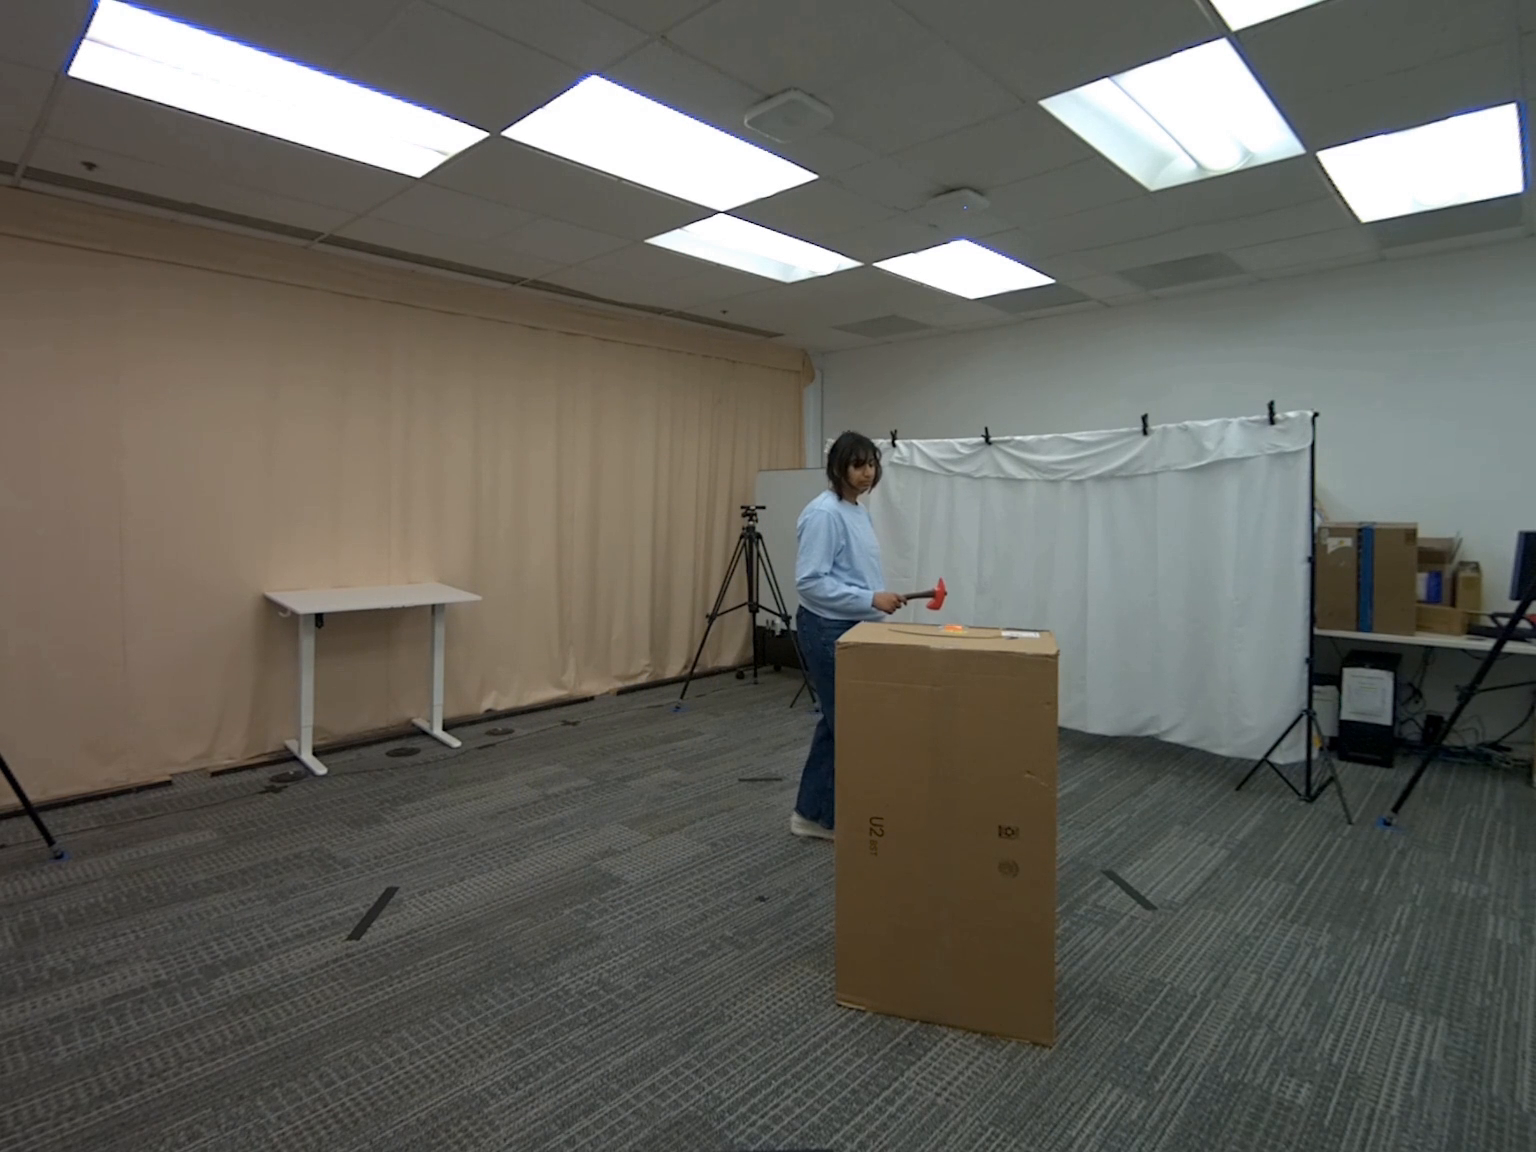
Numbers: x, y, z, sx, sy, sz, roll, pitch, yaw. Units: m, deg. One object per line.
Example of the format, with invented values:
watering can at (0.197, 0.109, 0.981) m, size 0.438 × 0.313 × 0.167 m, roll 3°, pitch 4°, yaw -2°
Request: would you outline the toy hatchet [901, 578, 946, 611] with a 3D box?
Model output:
toy hatchet at (0.567, 0.100, 3.245) m, size 0.269 × 0.128 × 0.030 m, roll -18°, pitch 23°, yaw -4°
